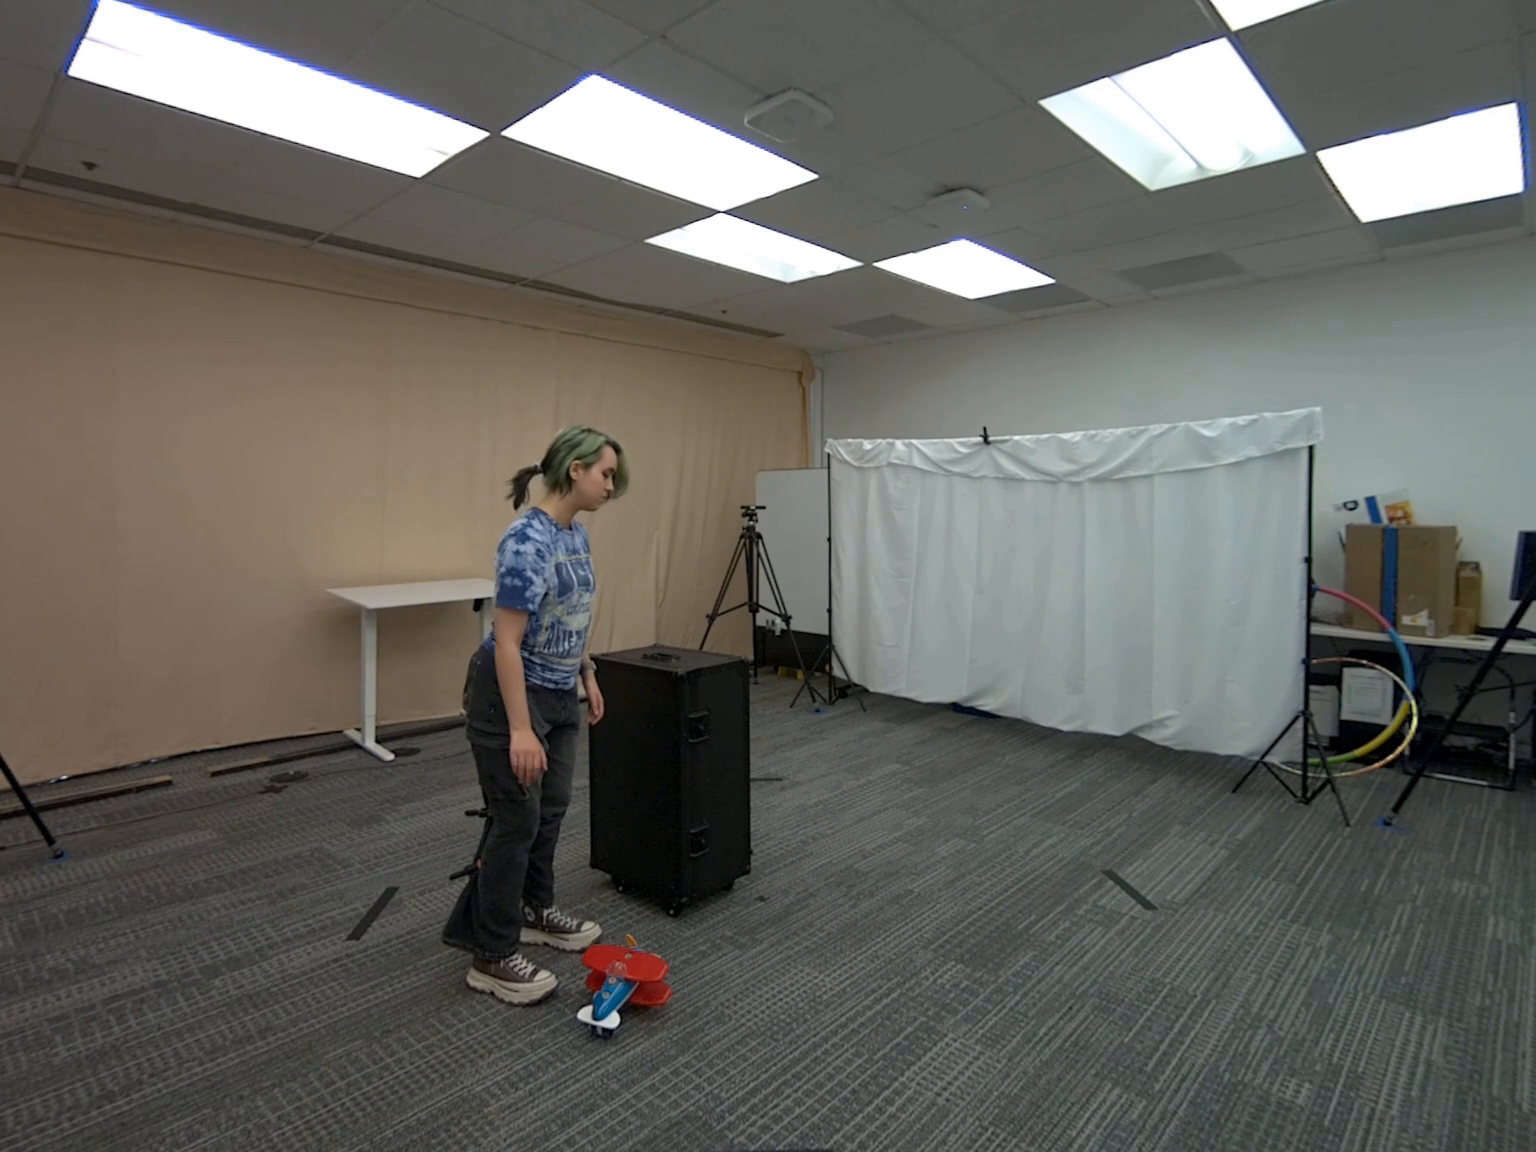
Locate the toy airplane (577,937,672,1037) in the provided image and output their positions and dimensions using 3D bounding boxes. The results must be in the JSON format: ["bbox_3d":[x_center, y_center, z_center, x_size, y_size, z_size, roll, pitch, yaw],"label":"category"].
[{"bbox_3d":[-0.384,1.119,2.291,0.250,0.156,0.261,0,4,-6],"label":"toy airplane"}]
